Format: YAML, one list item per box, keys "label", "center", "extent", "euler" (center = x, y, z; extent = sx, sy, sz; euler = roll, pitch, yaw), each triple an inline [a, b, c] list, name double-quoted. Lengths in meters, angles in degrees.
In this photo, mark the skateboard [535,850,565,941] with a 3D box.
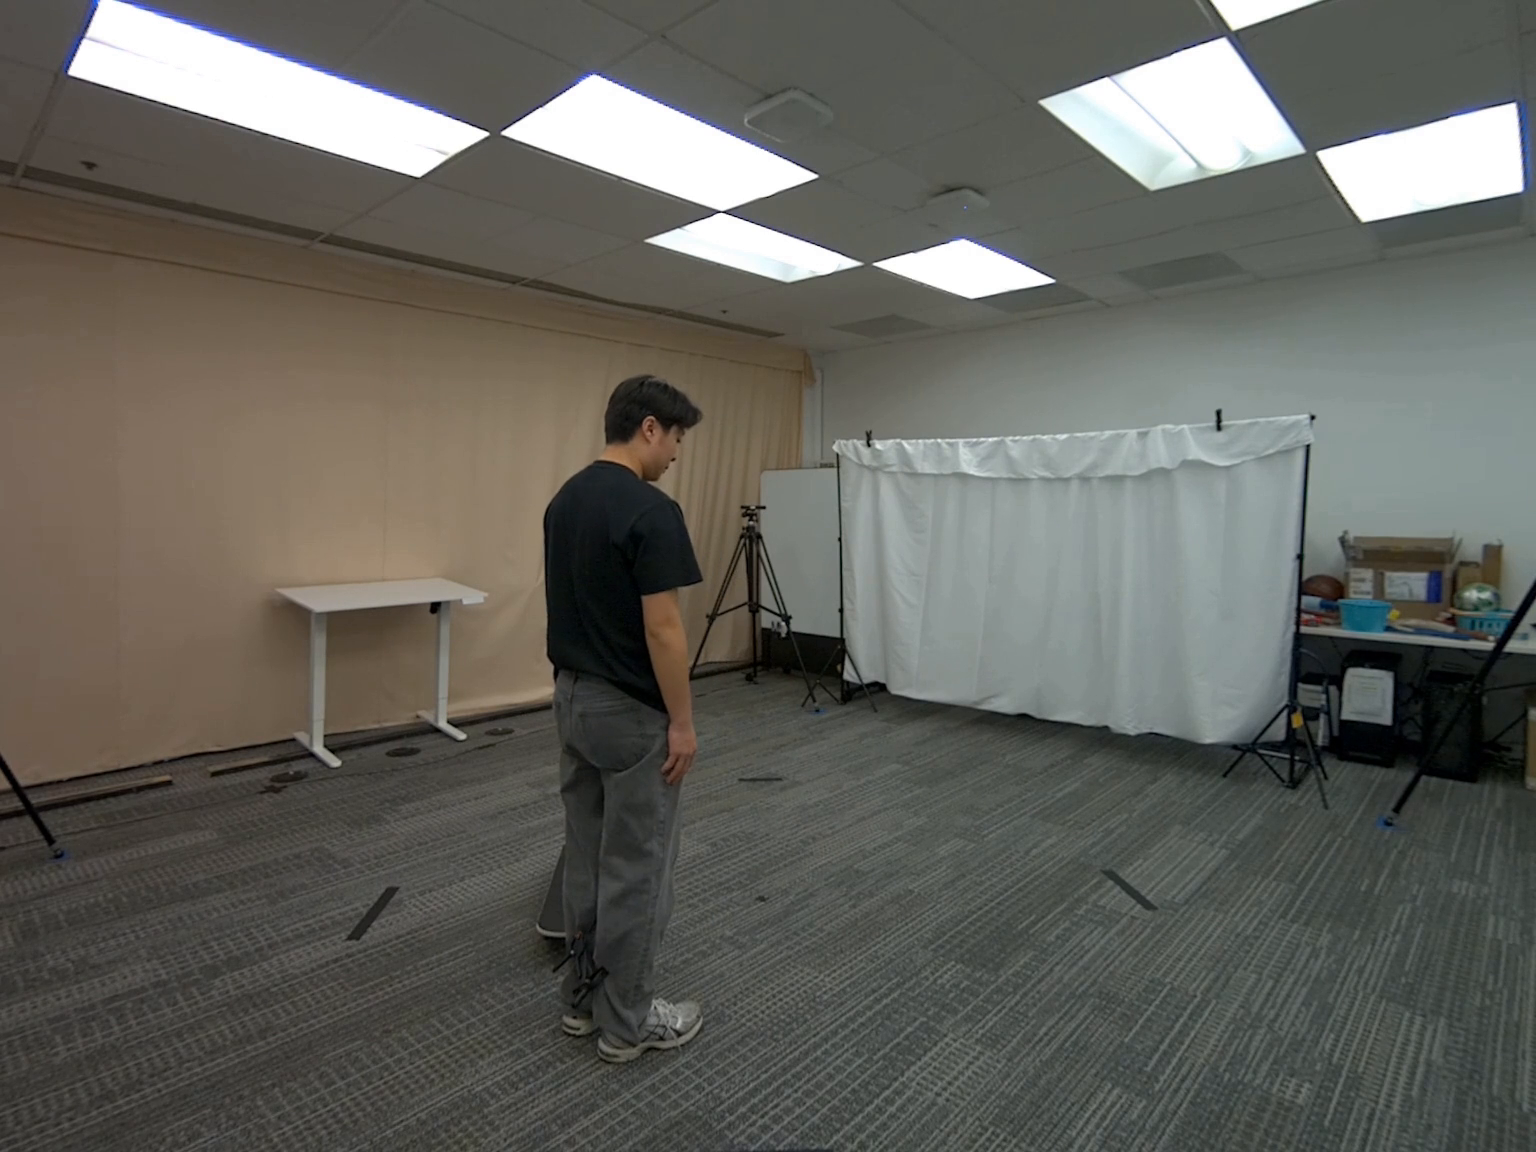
- label: "skateboard"
  center: [-0.657, 1.087, 2.930]
  extent: [0.193, 0.110, 0.791]
  euler: [-1, 5, -5]
